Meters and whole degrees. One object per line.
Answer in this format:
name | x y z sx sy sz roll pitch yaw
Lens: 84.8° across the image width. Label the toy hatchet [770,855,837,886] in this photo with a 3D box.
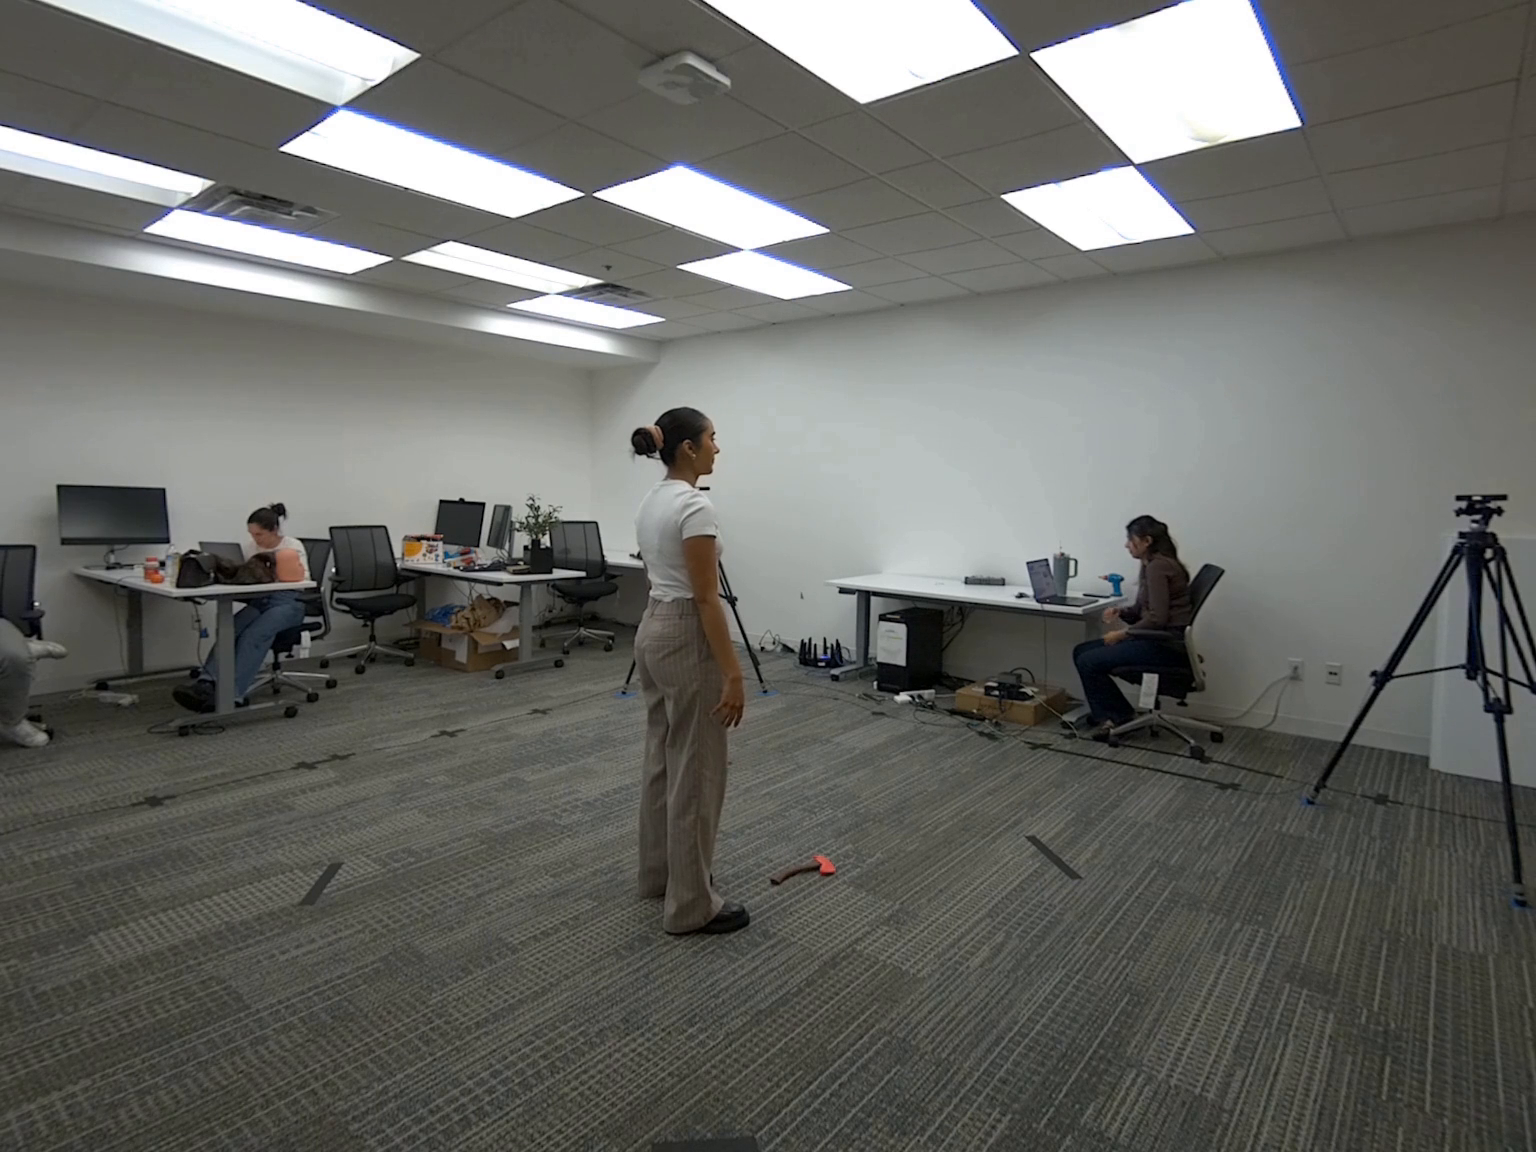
toy hatchet | 0.134 1.064 3.061 0.136 0.029 0.262 9 11 43
